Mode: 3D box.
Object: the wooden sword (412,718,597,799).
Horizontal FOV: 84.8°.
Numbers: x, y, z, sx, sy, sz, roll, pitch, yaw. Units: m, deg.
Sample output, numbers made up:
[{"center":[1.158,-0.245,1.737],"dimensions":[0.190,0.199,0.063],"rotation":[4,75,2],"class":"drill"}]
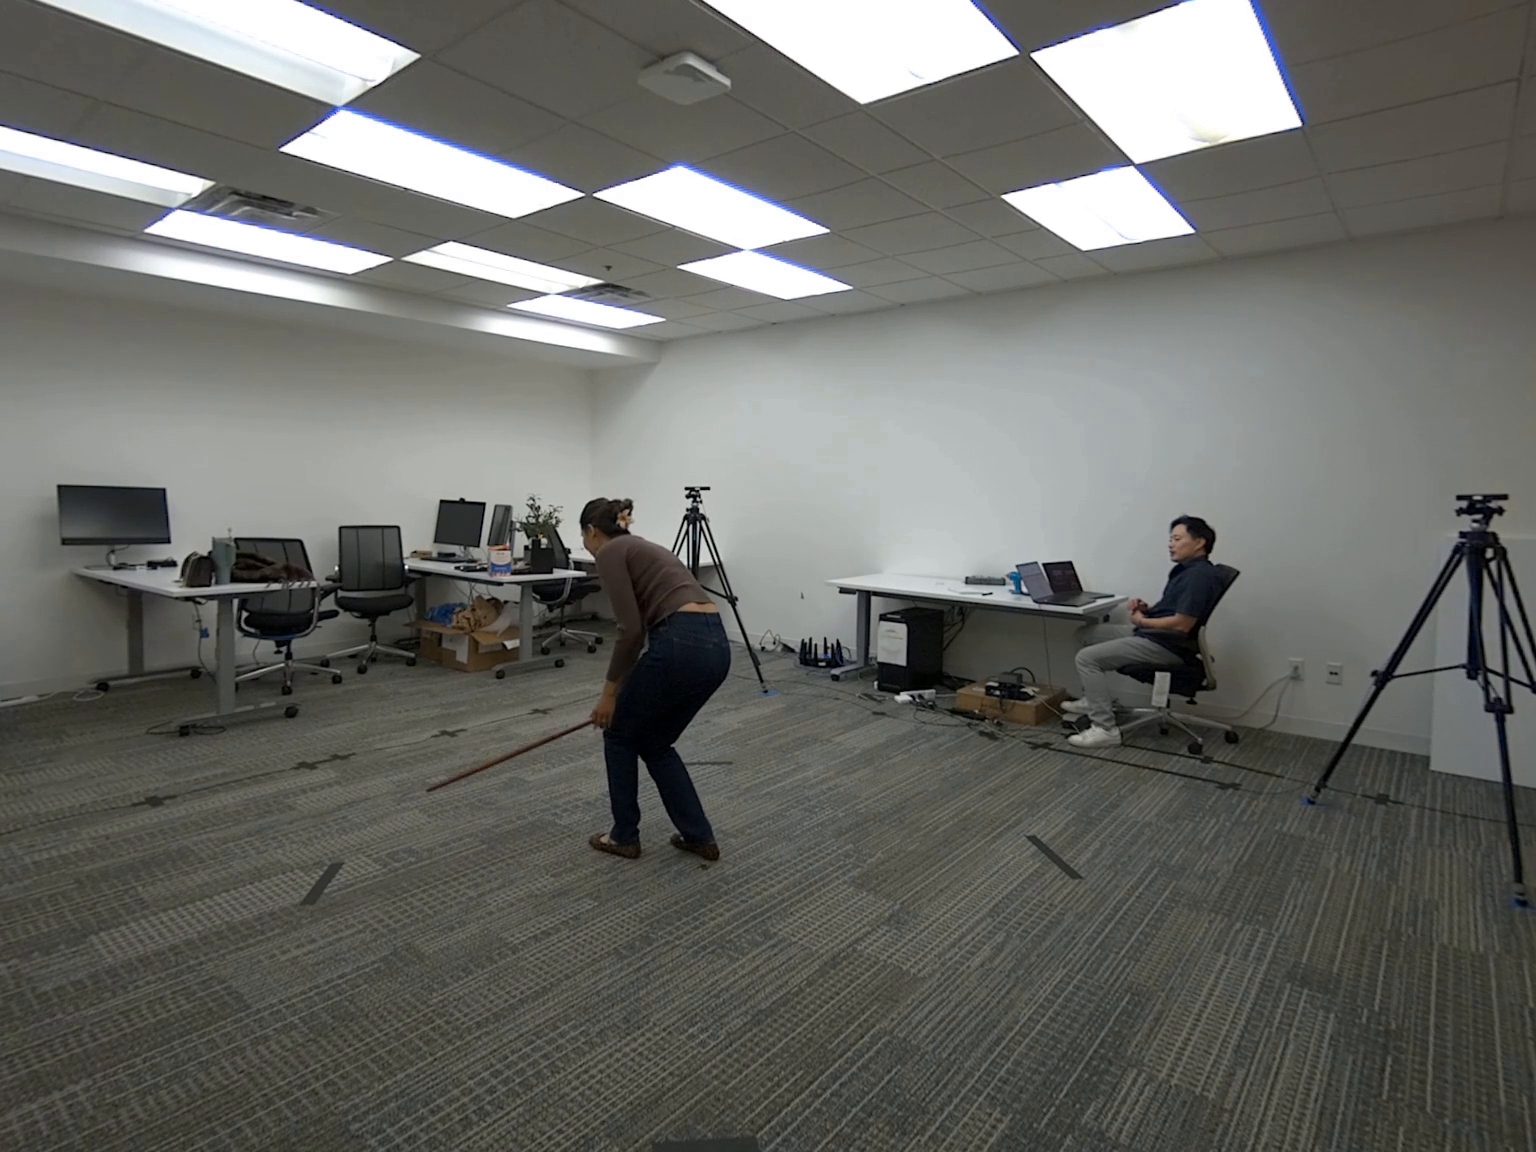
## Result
[{"center":[-0.892,0.654,3.286],"dimensions":[1.000,0.025,0.051],"rotation":[-16,-26,-46],"class":"wooden sword"}]
